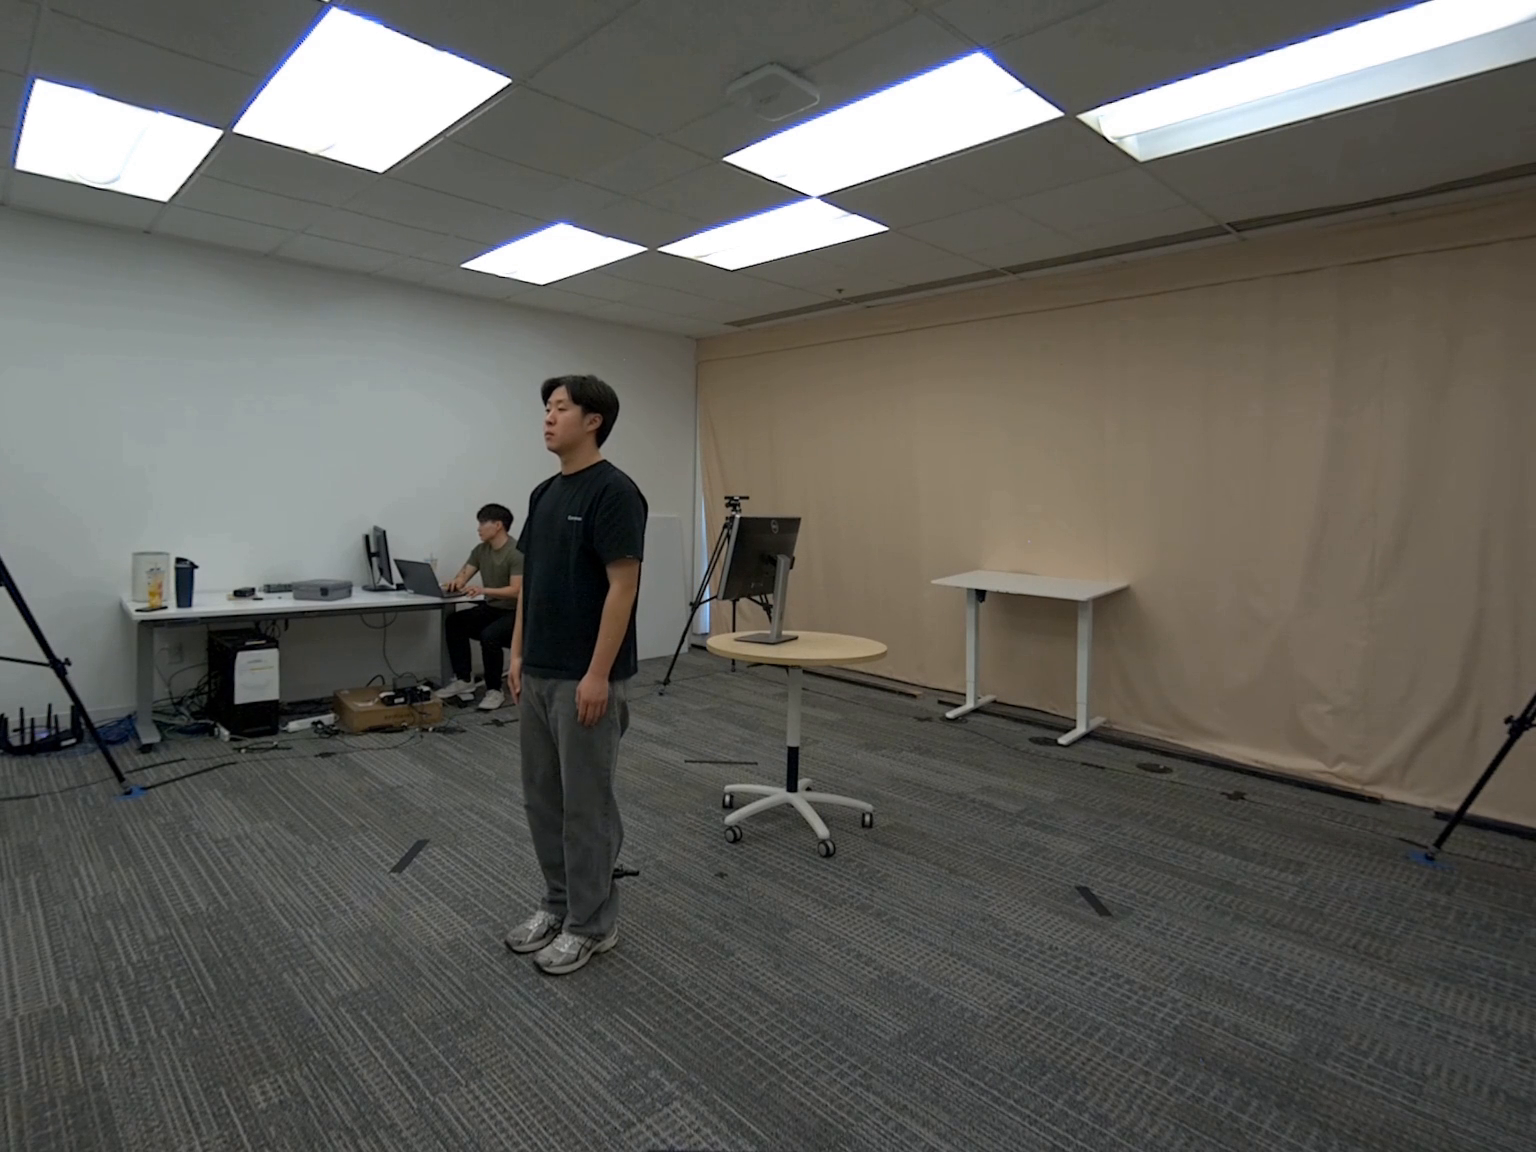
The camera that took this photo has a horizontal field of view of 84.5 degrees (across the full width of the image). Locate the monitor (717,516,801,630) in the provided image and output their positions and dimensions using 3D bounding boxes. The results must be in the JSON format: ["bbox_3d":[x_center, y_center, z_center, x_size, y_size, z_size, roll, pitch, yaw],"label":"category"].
[{"bbox_3d":[-0.013,0.018,3.673,0.227,0.565,0.550,0,2,32],"label":"monitor"}]
